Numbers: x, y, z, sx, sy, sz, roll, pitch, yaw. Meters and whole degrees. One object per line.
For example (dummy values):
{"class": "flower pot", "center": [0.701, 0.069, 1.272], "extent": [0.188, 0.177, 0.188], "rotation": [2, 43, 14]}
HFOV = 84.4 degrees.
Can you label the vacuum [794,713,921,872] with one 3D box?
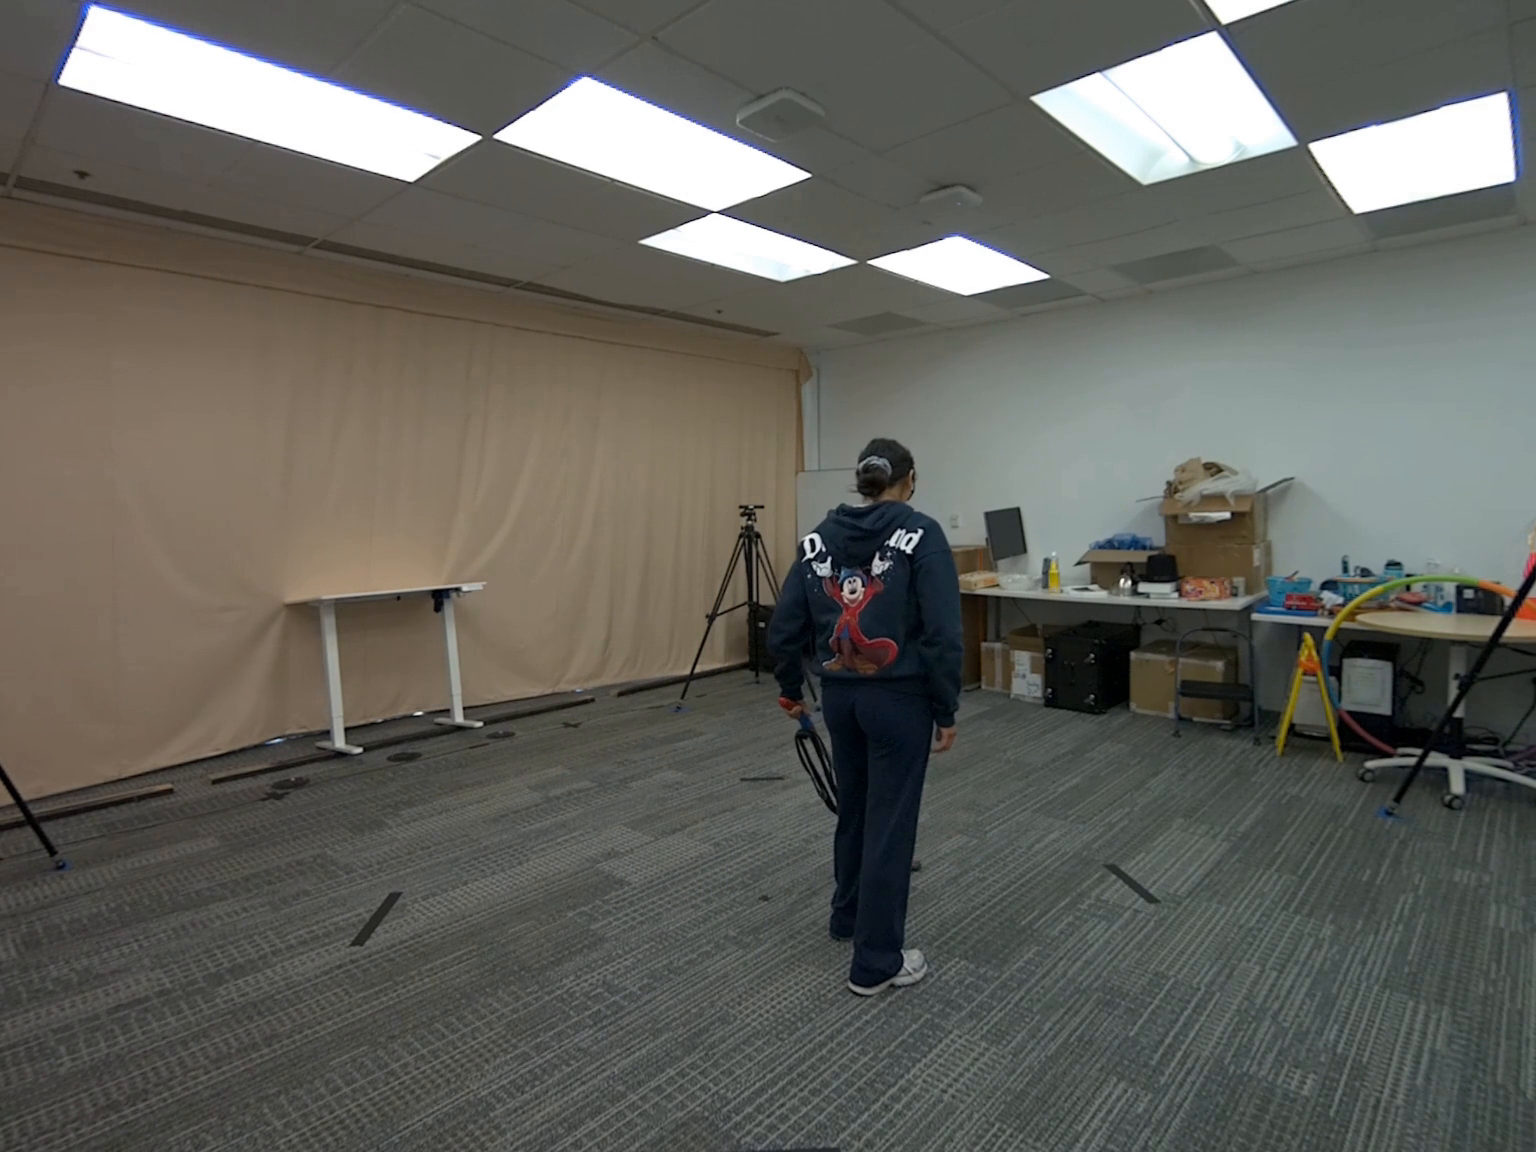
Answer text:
{"class": "vacuum", "center": [0.259, 0.752, 2.930], "extent": [0.259, 1.017, 0.145], "rotation": [-6, 44, 27]}
